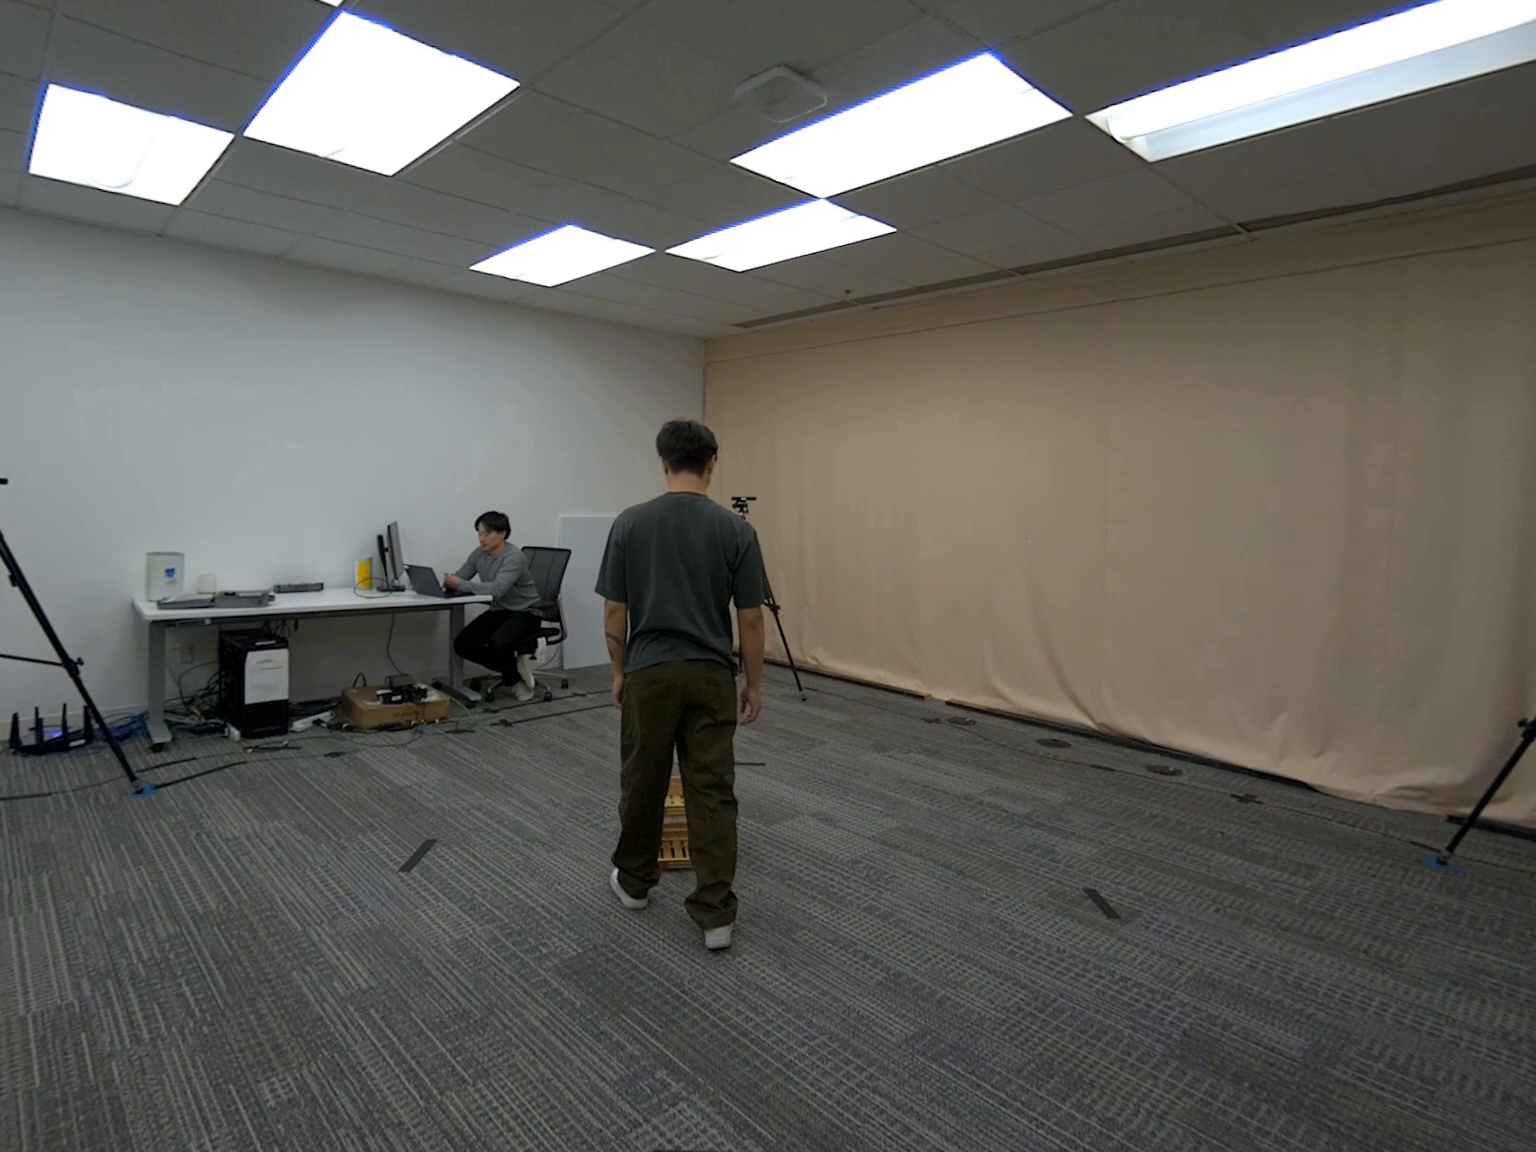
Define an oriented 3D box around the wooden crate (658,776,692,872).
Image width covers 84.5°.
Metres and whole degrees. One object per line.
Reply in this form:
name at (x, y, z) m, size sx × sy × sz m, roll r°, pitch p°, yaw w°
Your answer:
wooden crate at (-0.307, 0.965, 3.275) m, size 0.322 × 0.273 × 0.304 m, roll 1°, pitch 2°, yaw -8°
